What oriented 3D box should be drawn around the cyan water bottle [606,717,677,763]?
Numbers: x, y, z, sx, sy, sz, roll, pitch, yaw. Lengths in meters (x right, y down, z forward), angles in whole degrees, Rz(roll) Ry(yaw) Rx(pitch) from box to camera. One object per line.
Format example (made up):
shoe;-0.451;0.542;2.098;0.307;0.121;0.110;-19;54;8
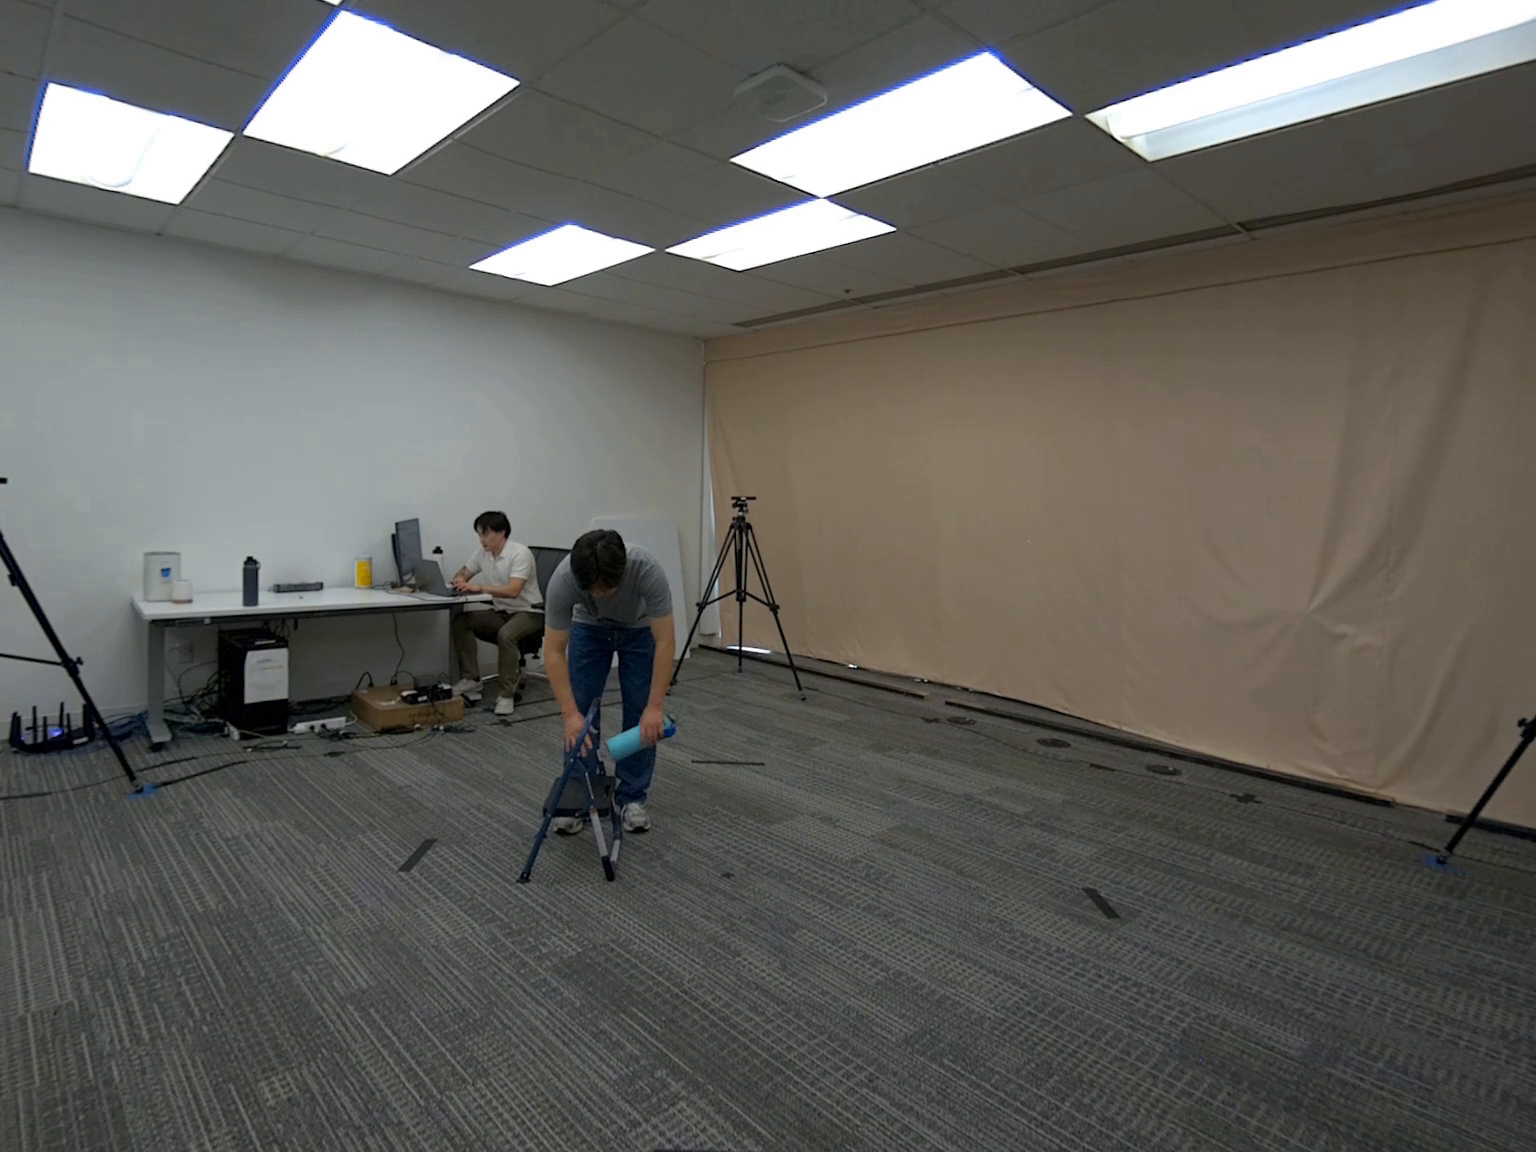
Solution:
cyan water bottle;-0.483;0.611;3.259;0.281;0.091;0.094;-21;11;-17
